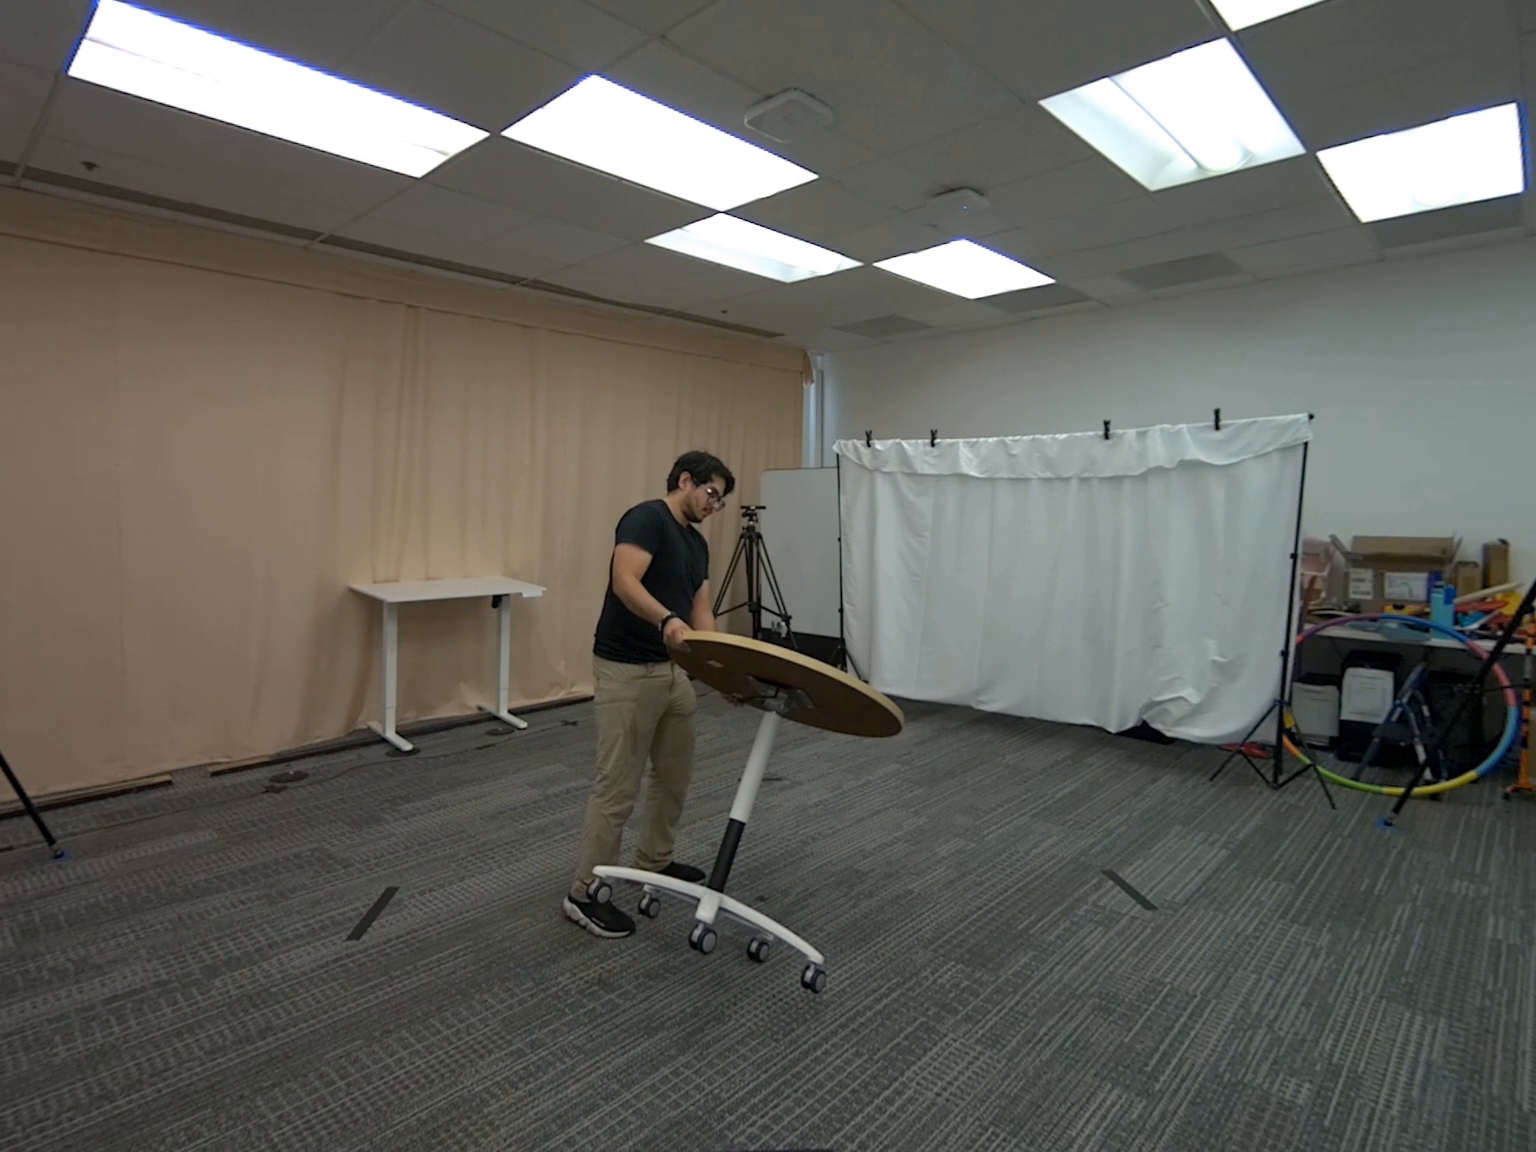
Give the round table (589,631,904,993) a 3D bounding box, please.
[{"bbox_3d":[-0.073,0.680,2.492,0.791,0.790,0.776,18,-21,5],"label":"round table"}]
